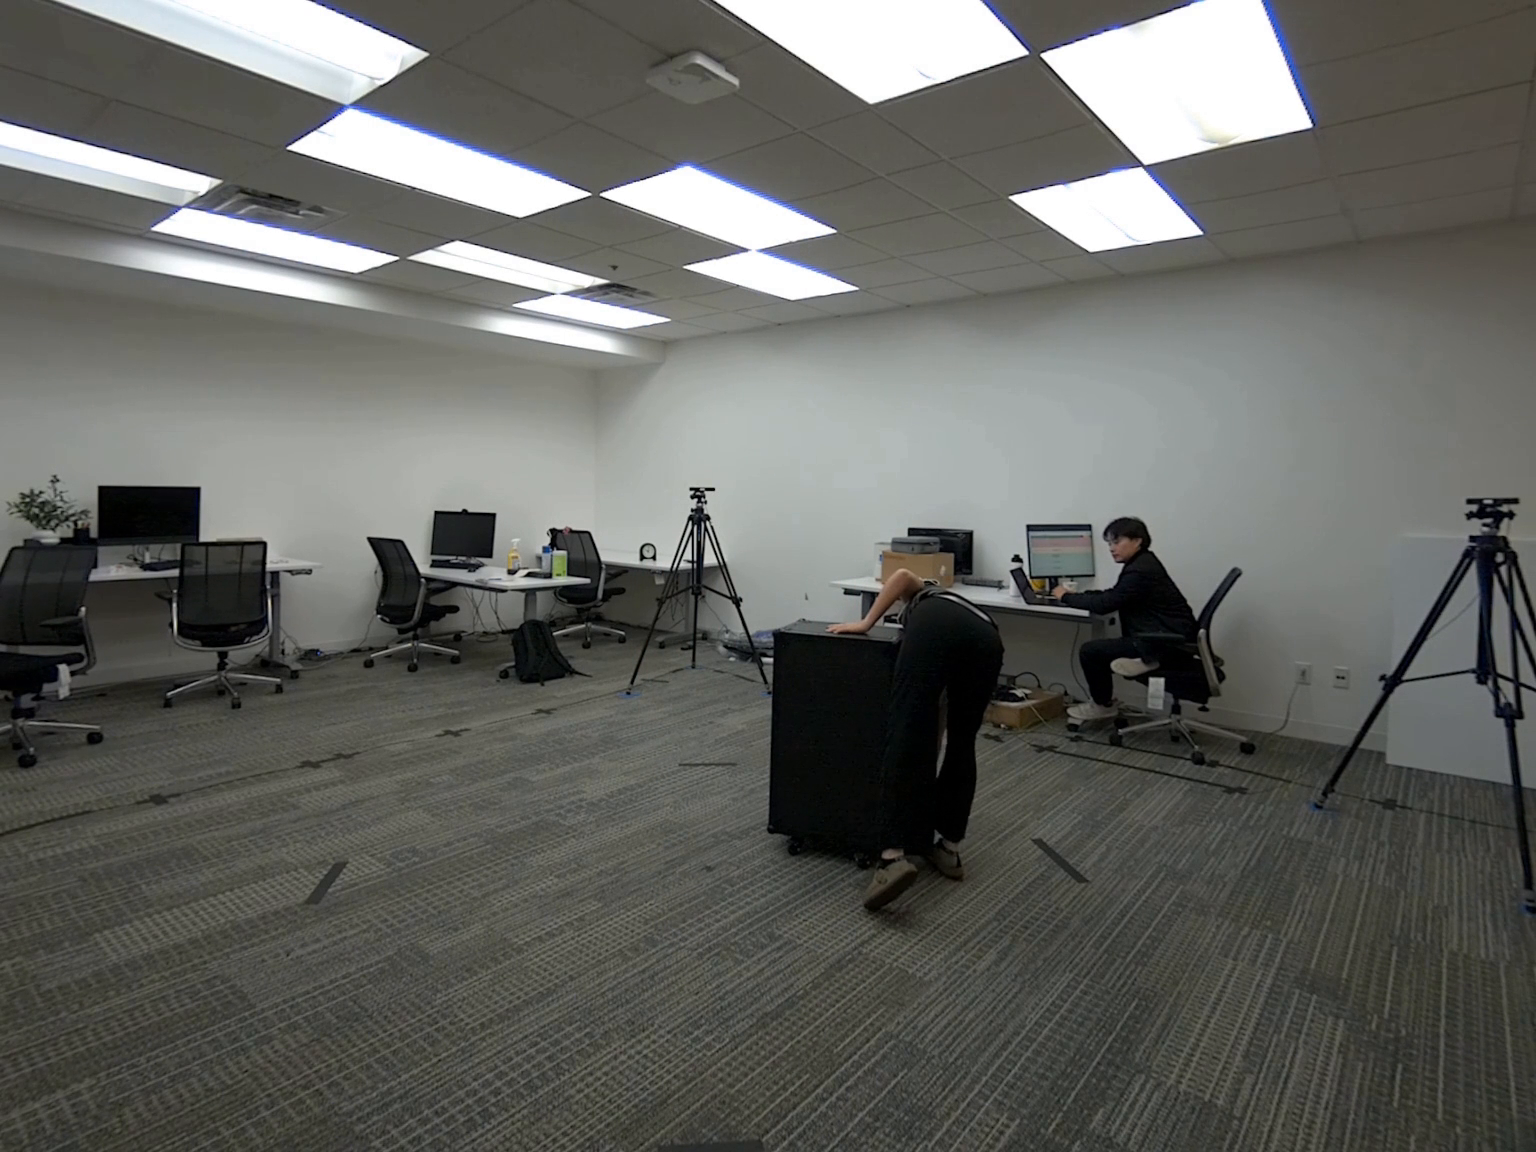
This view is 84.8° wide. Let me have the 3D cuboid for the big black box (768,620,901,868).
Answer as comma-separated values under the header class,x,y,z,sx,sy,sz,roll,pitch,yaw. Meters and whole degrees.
class,x,y,z,sx,sy,sz,roll,pitch,yaw
big black box,0.276,0.634,3.343,0.534,0.861,0.387,3,1,23
